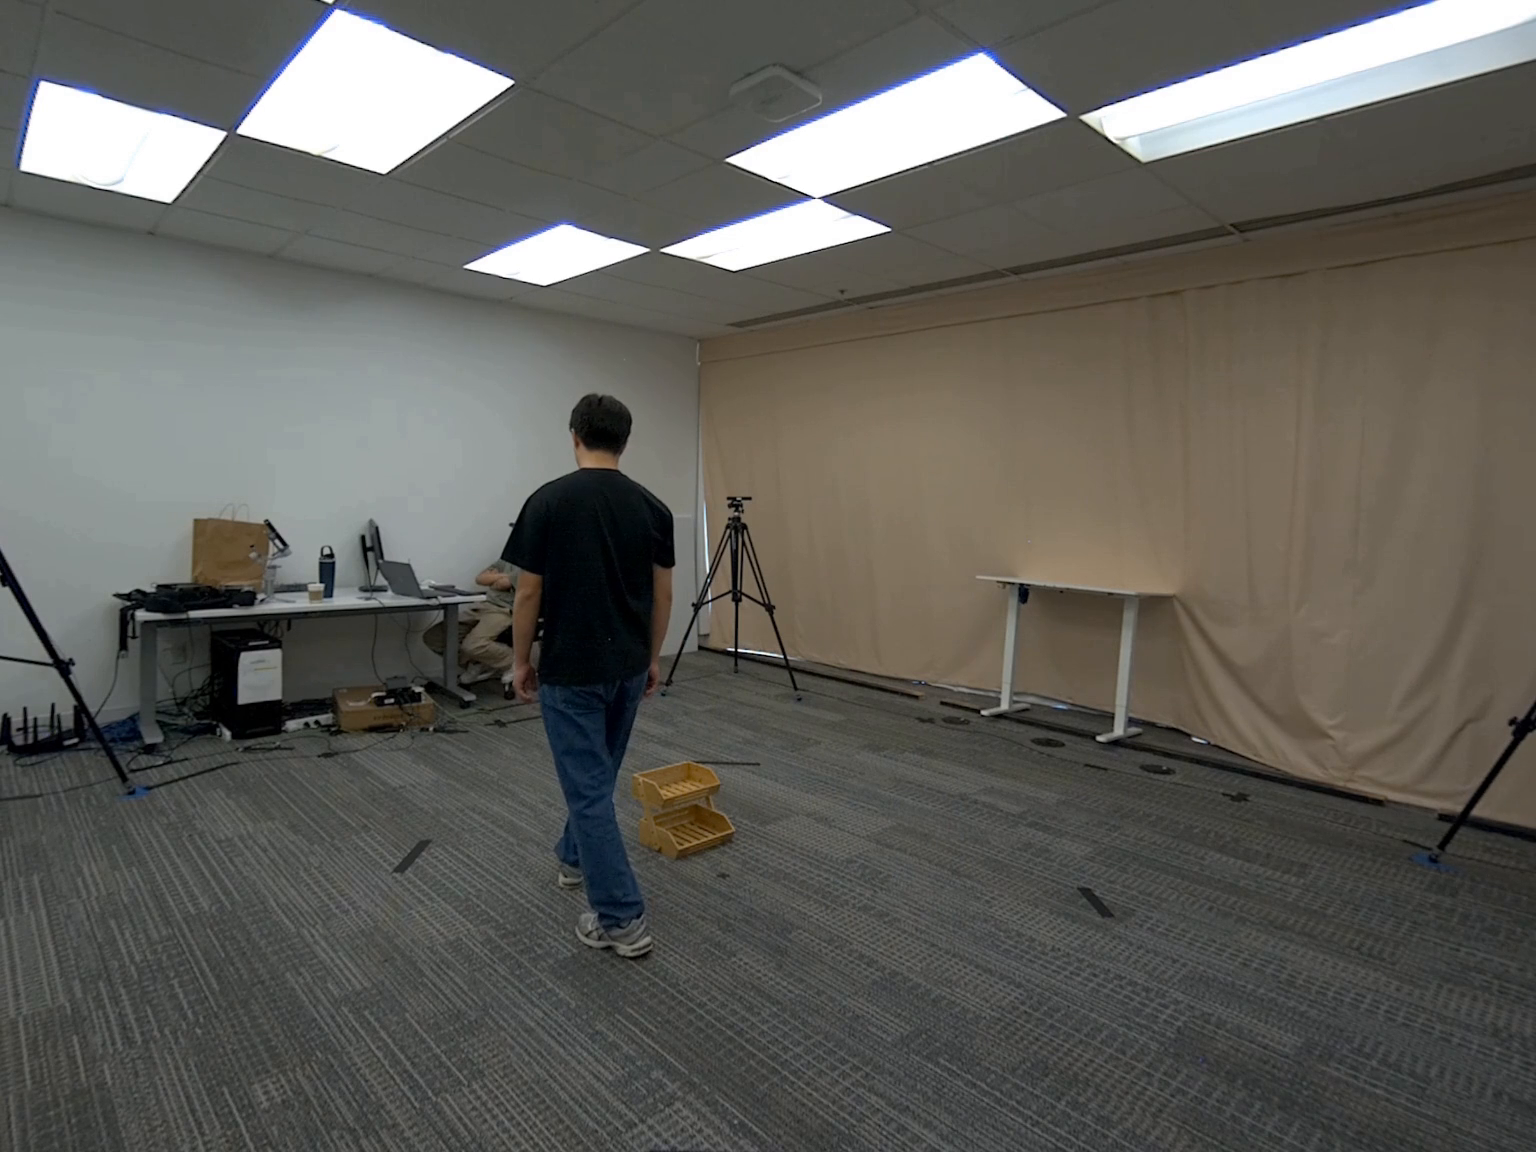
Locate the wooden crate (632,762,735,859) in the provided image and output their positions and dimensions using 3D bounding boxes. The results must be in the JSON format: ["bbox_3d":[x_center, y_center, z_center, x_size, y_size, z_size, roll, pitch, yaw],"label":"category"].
[{"bbox_3d":[-0.348,0.943,3.421,0.317,0.273,0.310,-2,4,-45],"label":"wooden crate"}]
